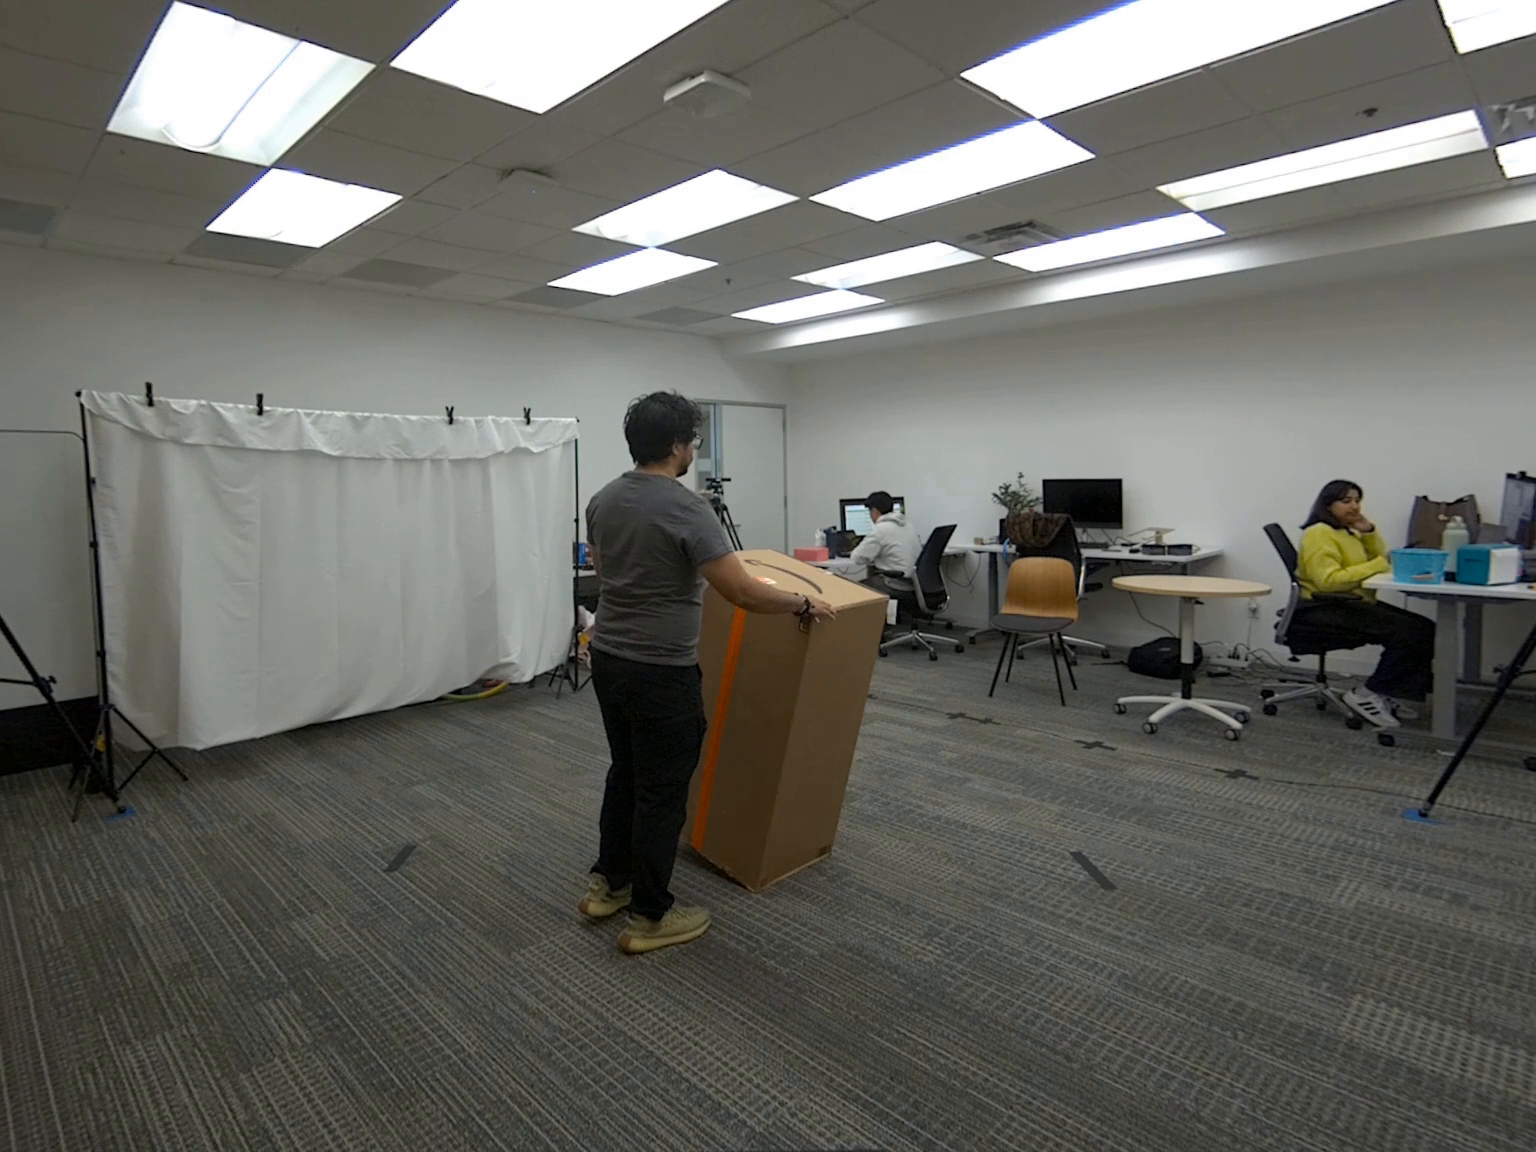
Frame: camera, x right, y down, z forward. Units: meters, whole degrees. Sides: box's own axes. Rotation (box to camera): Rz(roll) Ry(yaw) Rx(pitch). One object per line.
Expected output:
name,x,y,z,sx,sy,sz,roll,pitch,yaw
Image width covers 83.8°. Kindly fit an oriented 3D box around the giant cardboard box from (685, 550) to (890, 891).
giant cardboard box,-0.016,0.485,3.095,0.599,1.016,0.415,22,18,40
